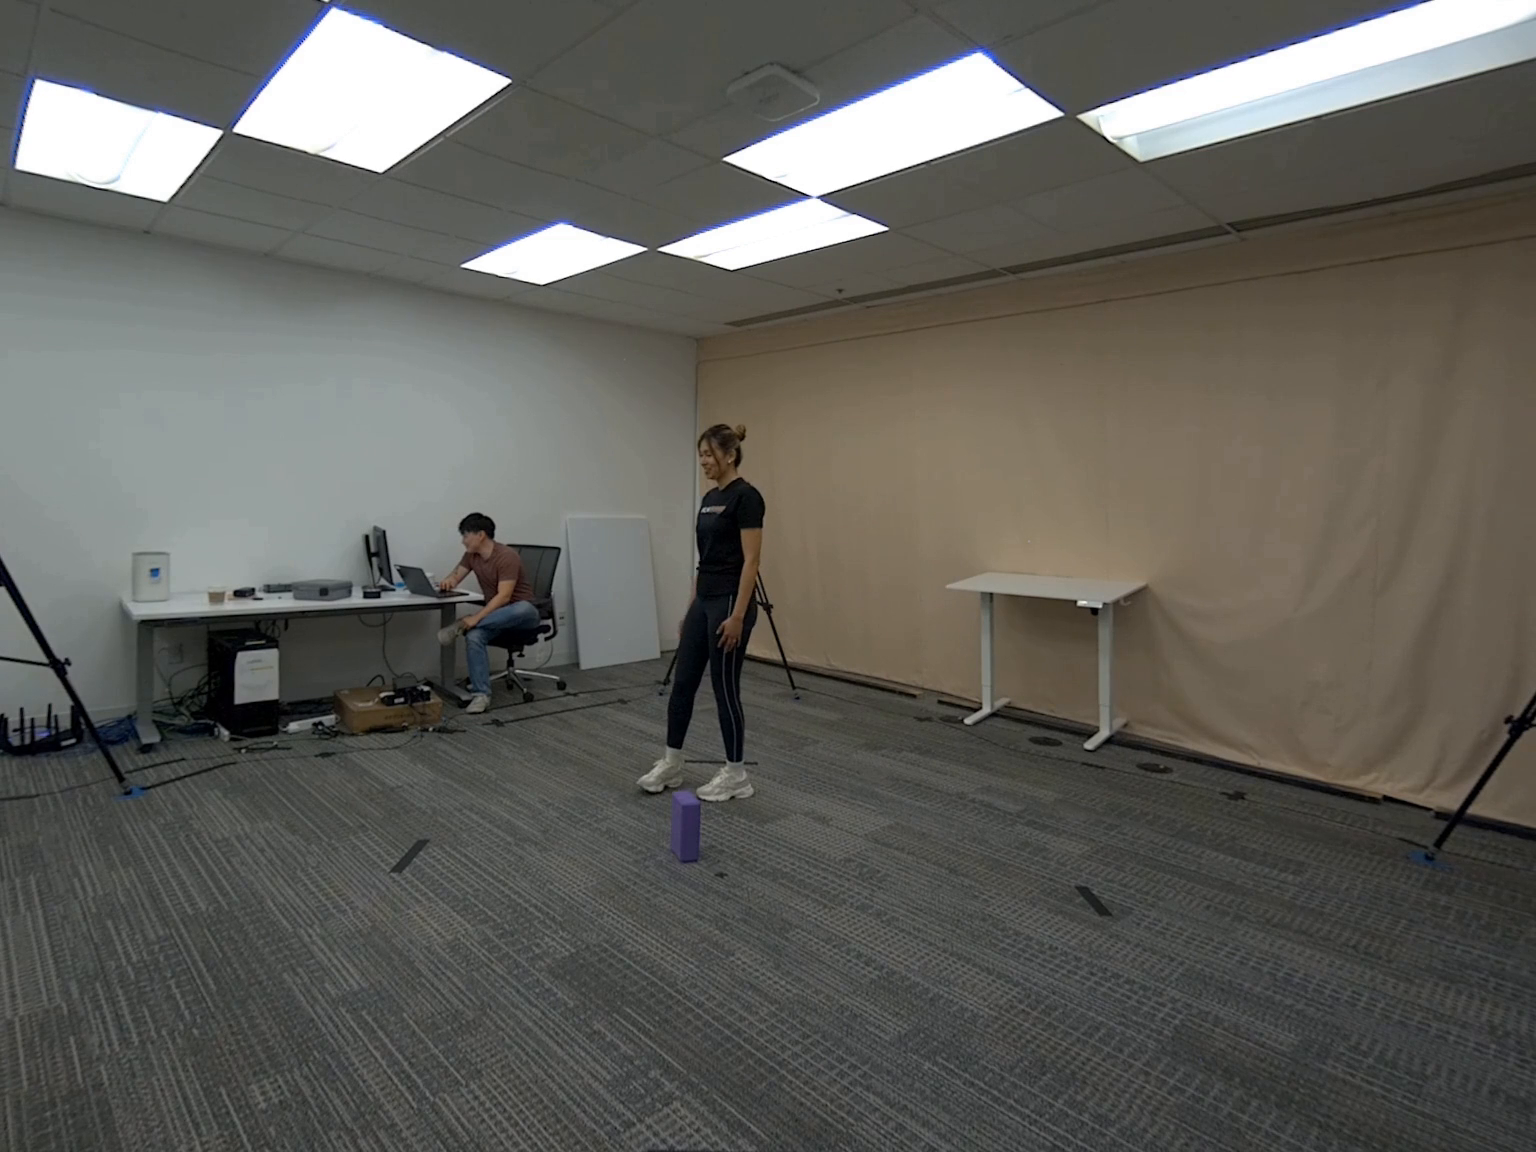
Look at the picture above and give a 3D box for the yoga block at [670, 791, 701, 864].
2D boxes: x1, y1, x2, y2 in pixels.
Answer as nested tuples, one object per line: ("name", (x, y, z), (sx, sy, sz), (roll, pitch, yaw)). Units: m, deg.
("yoga block", (-0.328, 0.965, 3.267), (0.075, 0.229, 0.152), (1, 4, -23))
